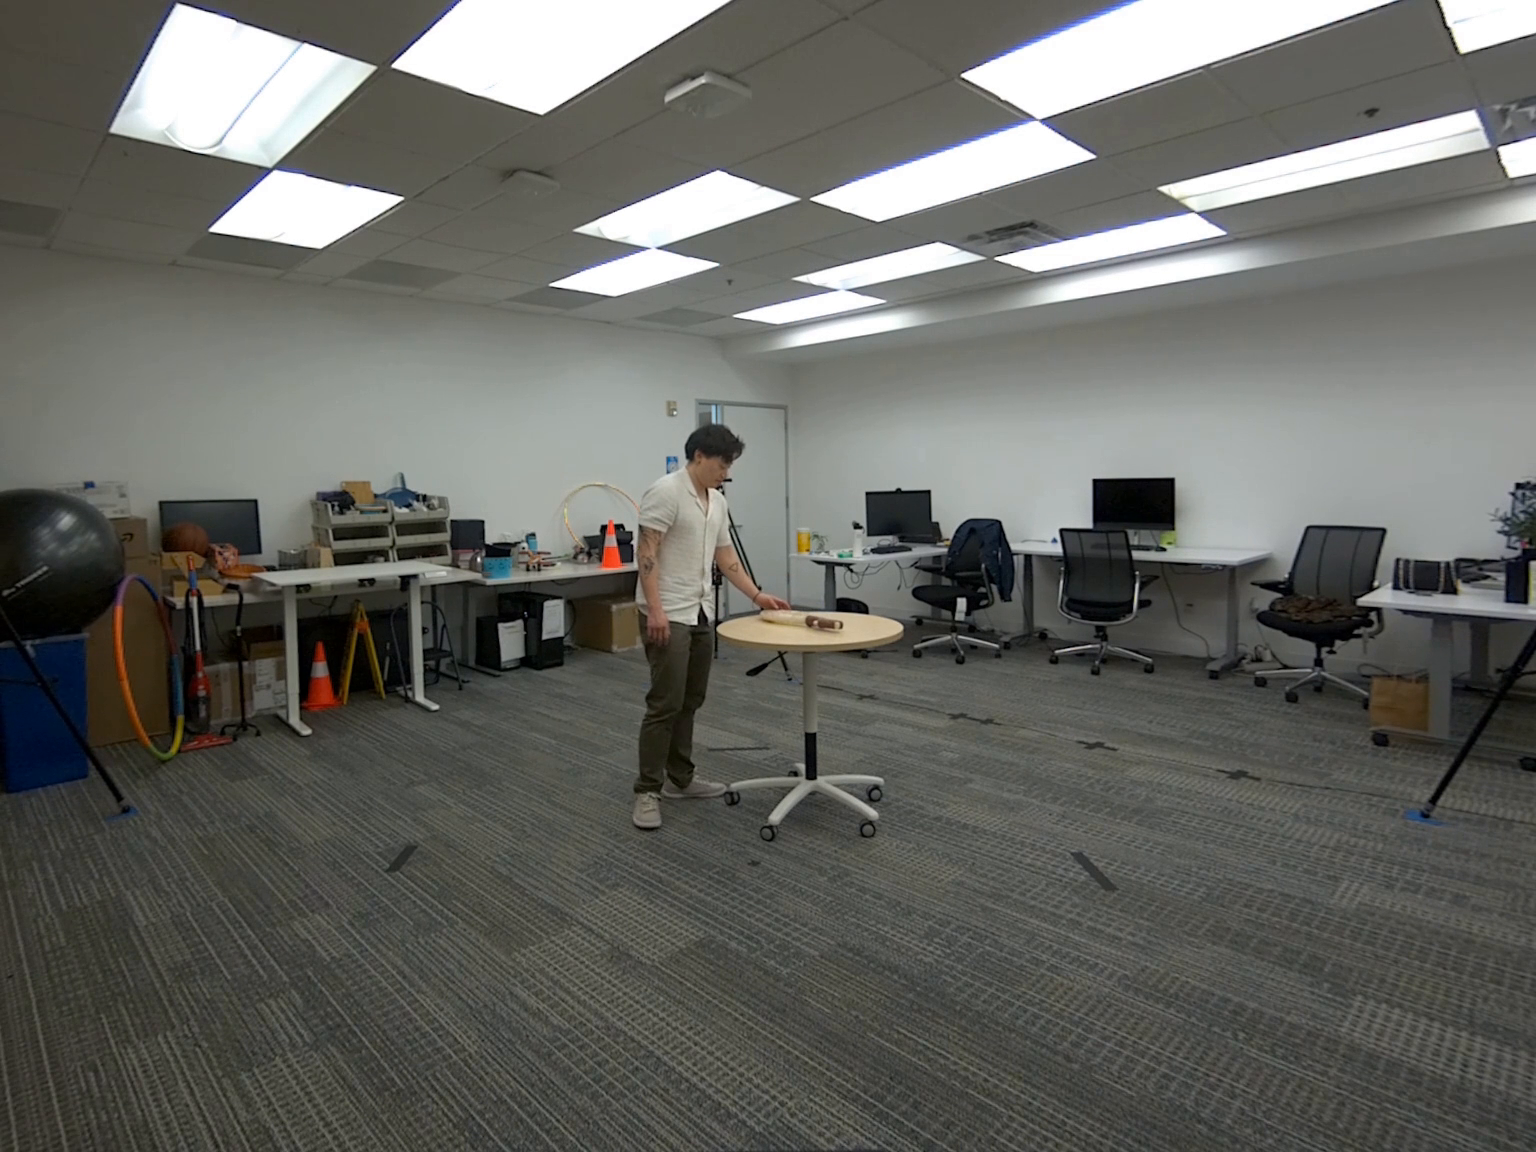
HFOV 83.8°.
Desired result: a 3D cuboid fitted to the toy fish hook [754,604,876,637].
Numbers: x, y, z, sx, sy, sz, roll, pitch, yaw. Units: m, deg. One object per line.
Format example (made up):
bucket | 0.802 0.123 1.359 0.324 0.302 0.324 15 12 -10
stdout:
toy fish hook | 0.185 0.180 3.598 0.219 0.048 0.521 -11 9 -37
